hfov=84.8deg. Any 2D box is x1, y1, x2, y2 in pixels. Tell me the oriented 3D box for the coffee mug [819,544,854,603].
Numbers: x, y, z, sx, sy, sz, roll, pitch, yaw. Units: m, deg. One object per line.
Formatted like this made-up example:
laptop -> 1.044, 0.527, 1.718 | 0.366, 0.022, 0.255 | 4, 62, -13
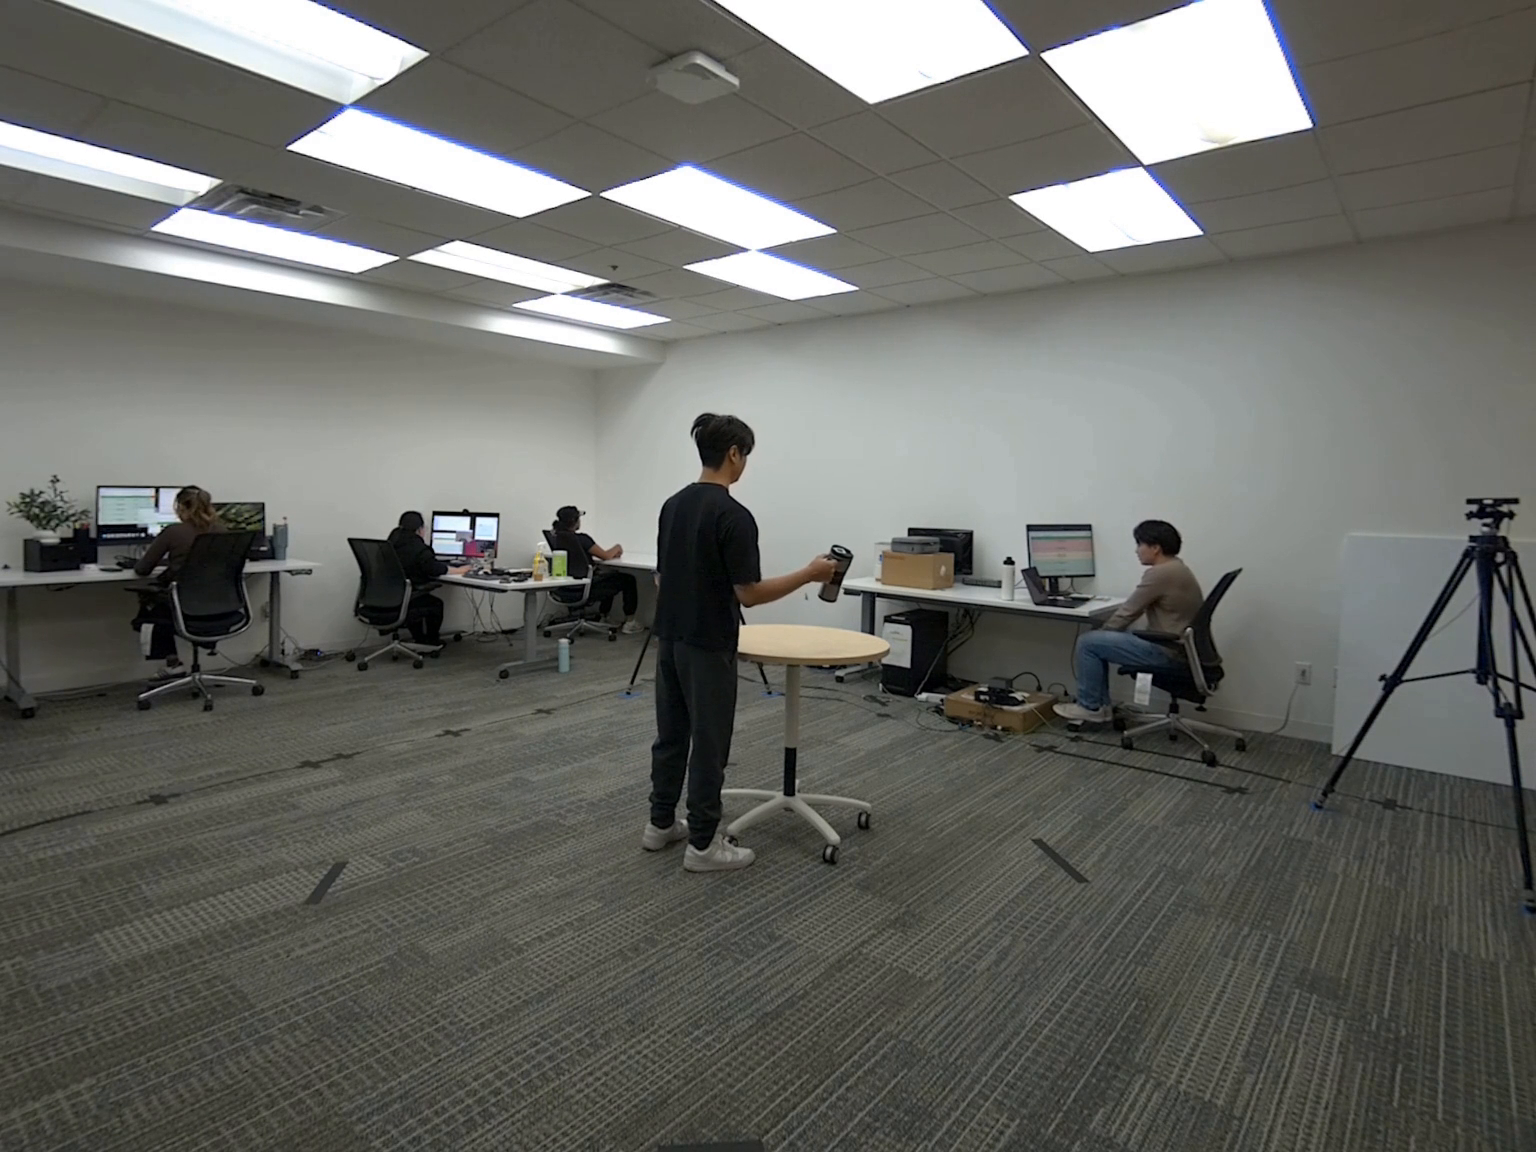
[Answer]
coffee mug -> 0.217, -0.006, 3.111 | 0.118, 0.201, 0.092 | 6, 24, -35
